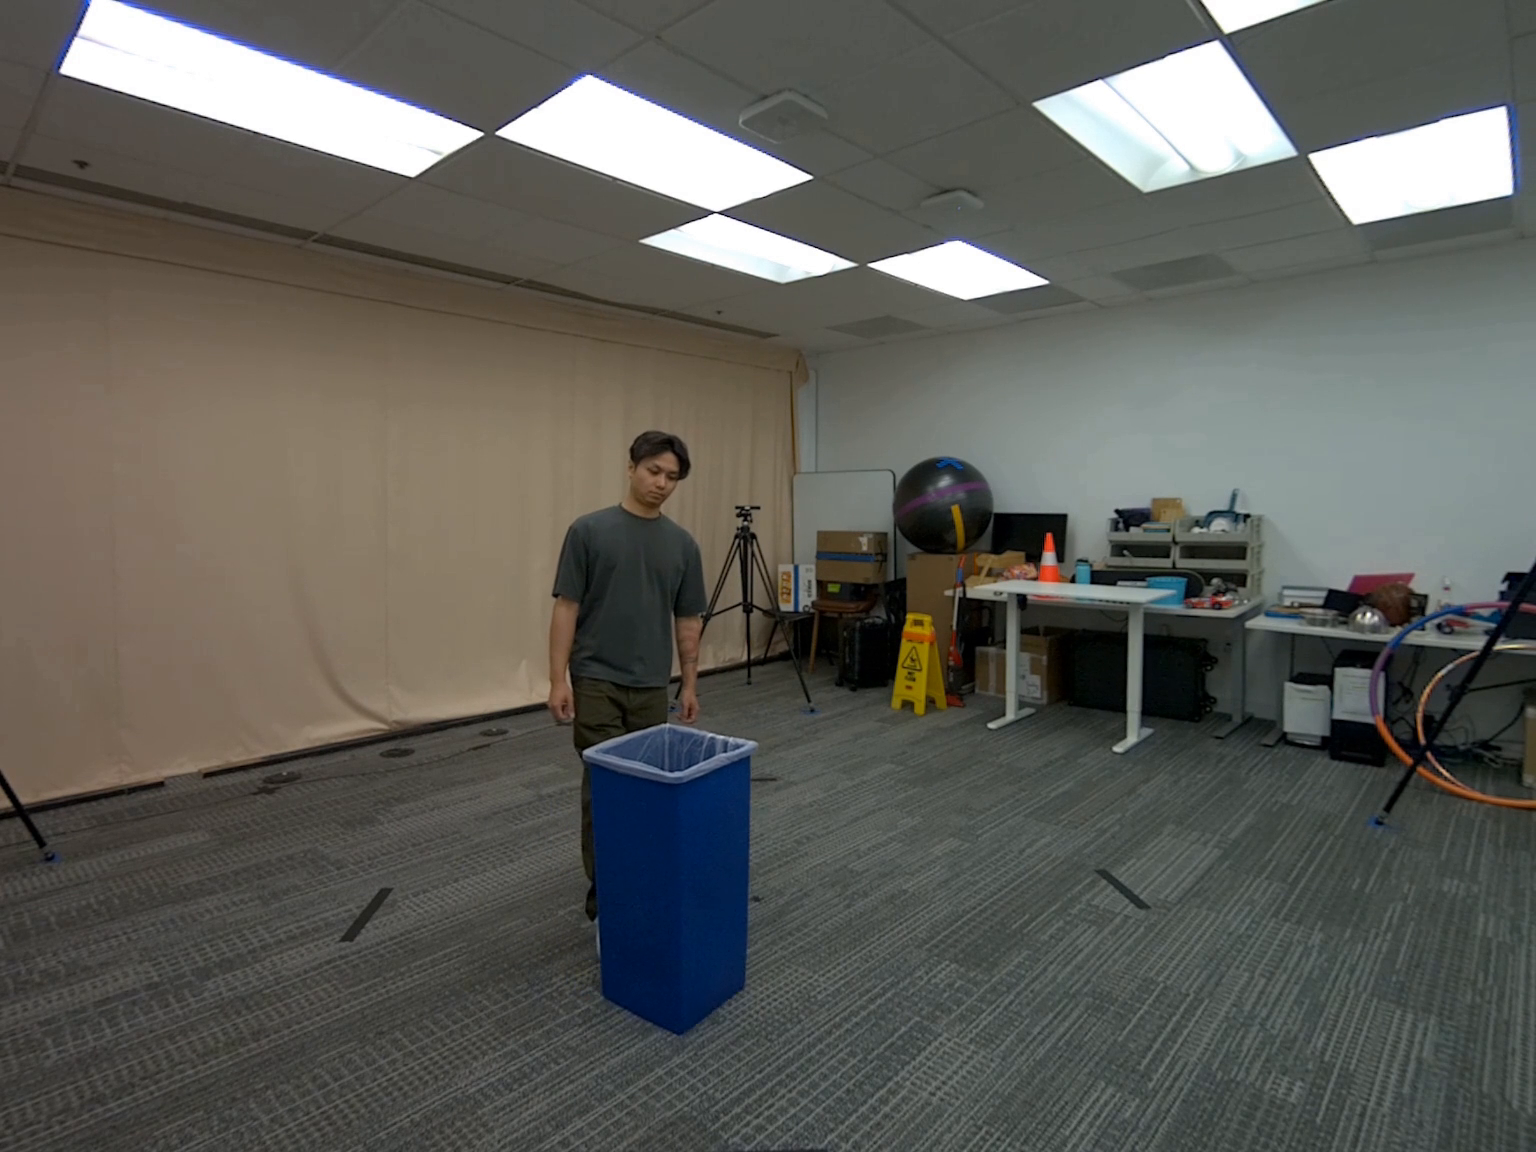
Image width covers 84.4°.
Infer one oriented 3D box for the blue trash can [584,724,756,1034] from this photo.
[{"bbox_3d":[-0.262,0.839,2.392,0.386,0.712,0.367,1,4,36],"label":"blue trash can"}]
